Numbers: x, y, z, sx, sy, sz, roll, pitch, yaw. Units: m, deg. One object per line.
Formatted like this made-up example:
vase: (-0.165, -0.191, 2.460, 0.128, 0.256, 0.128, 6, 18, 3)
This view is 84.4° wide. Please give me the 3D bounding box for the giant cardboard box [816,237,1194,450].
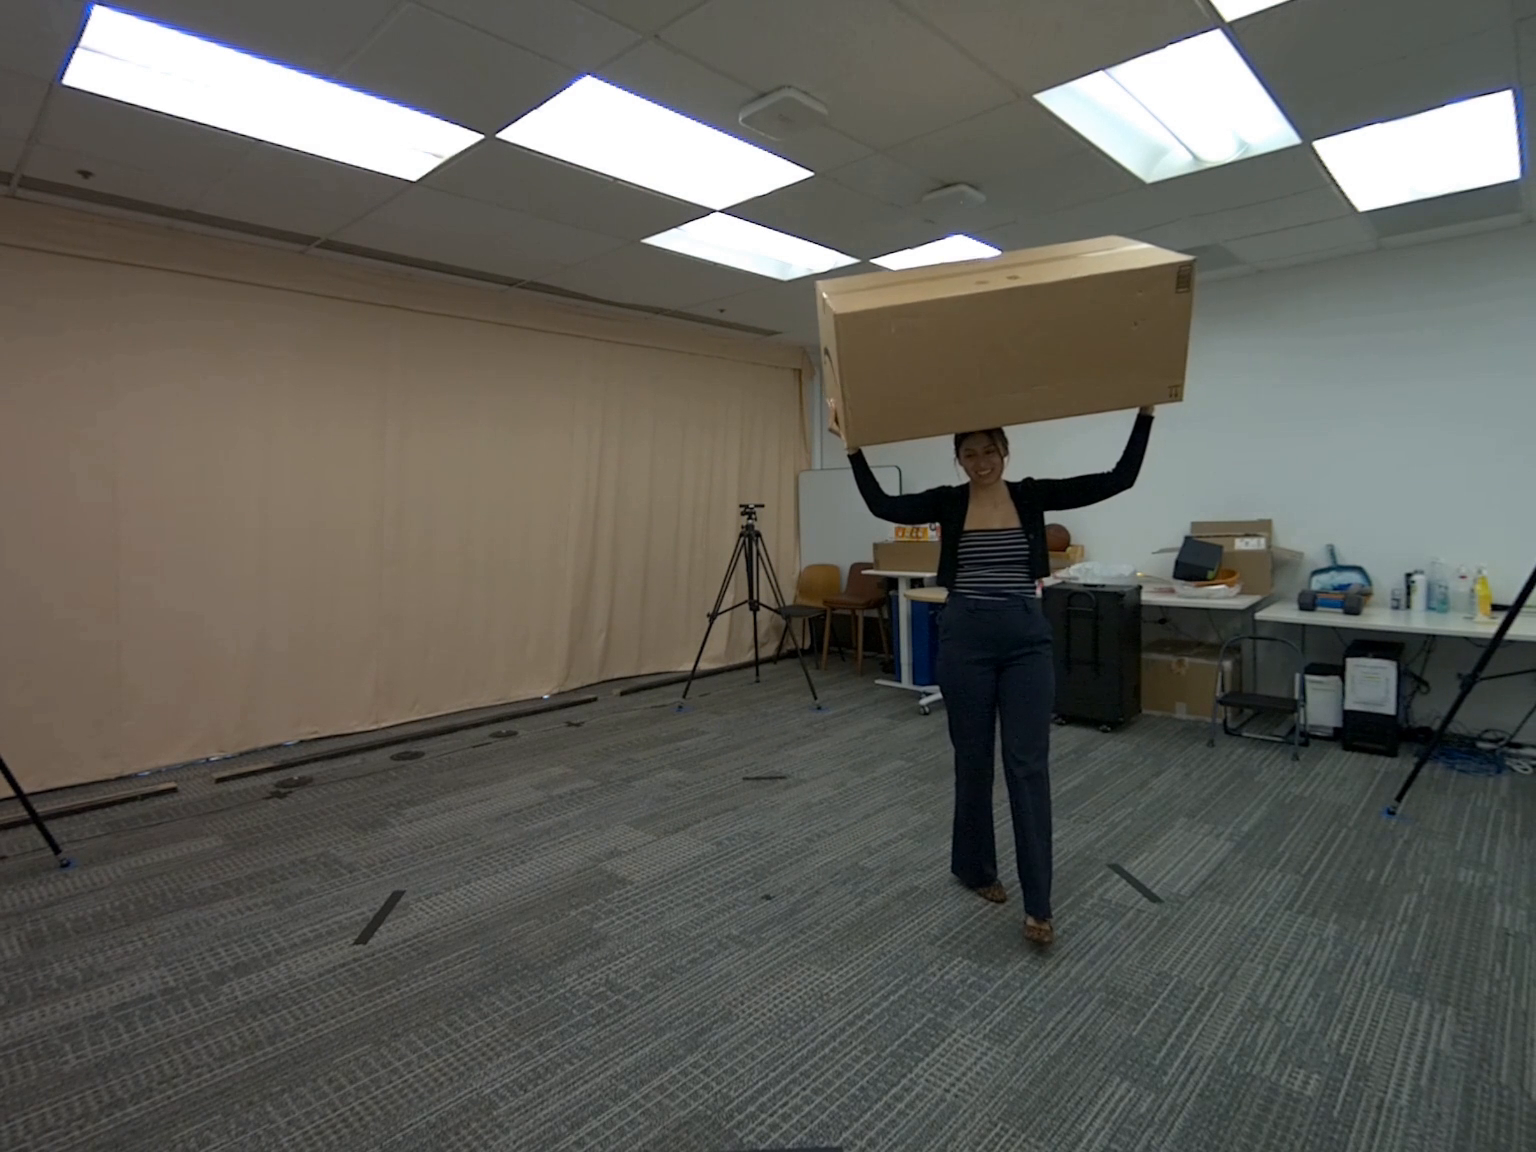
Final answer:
giant cardboard box: (0.719, -0.774, 2.736, 1.030, 0.418, 0.586, -8, 27, 4)
